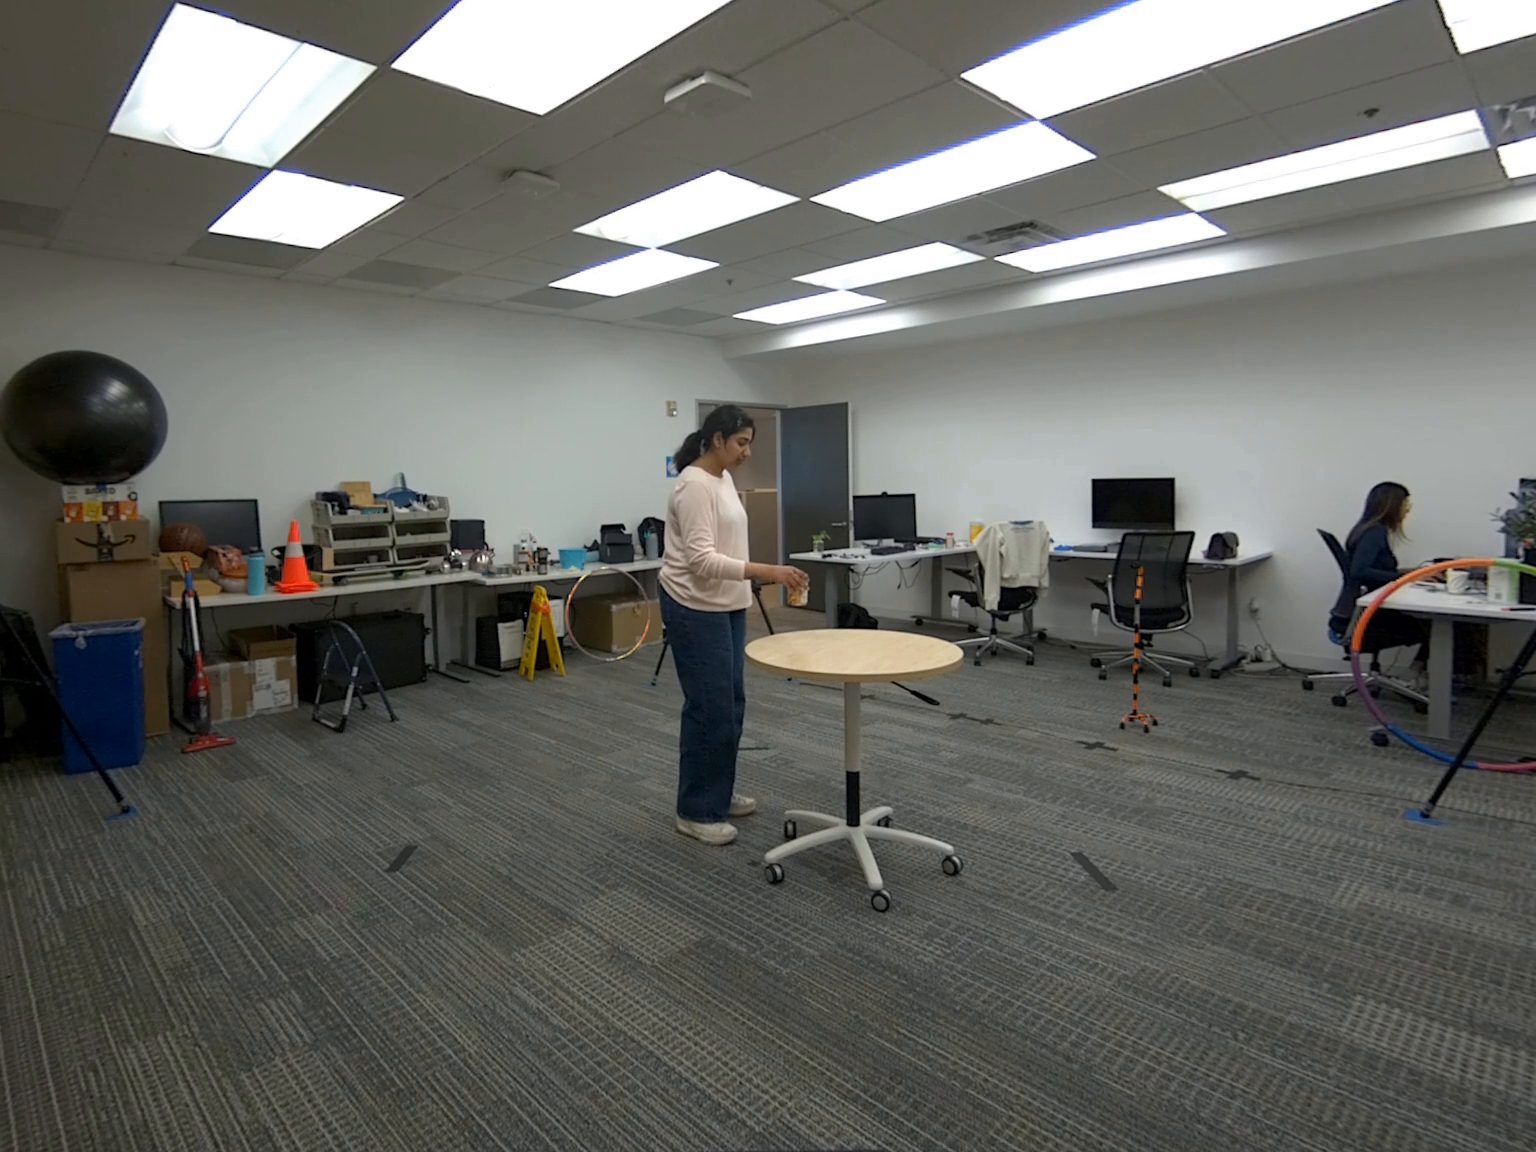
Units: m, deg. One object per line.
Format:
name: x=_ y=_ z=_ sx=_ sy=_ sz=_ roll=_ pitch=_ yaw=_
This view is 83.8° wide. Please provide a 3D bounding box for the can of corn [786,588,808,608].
can of corn: x=0.115 y=0.051 z=3.228 sx=0.074 sy=0.110 sz=0.075 roll=-2 pitch=6 yaw=-1
